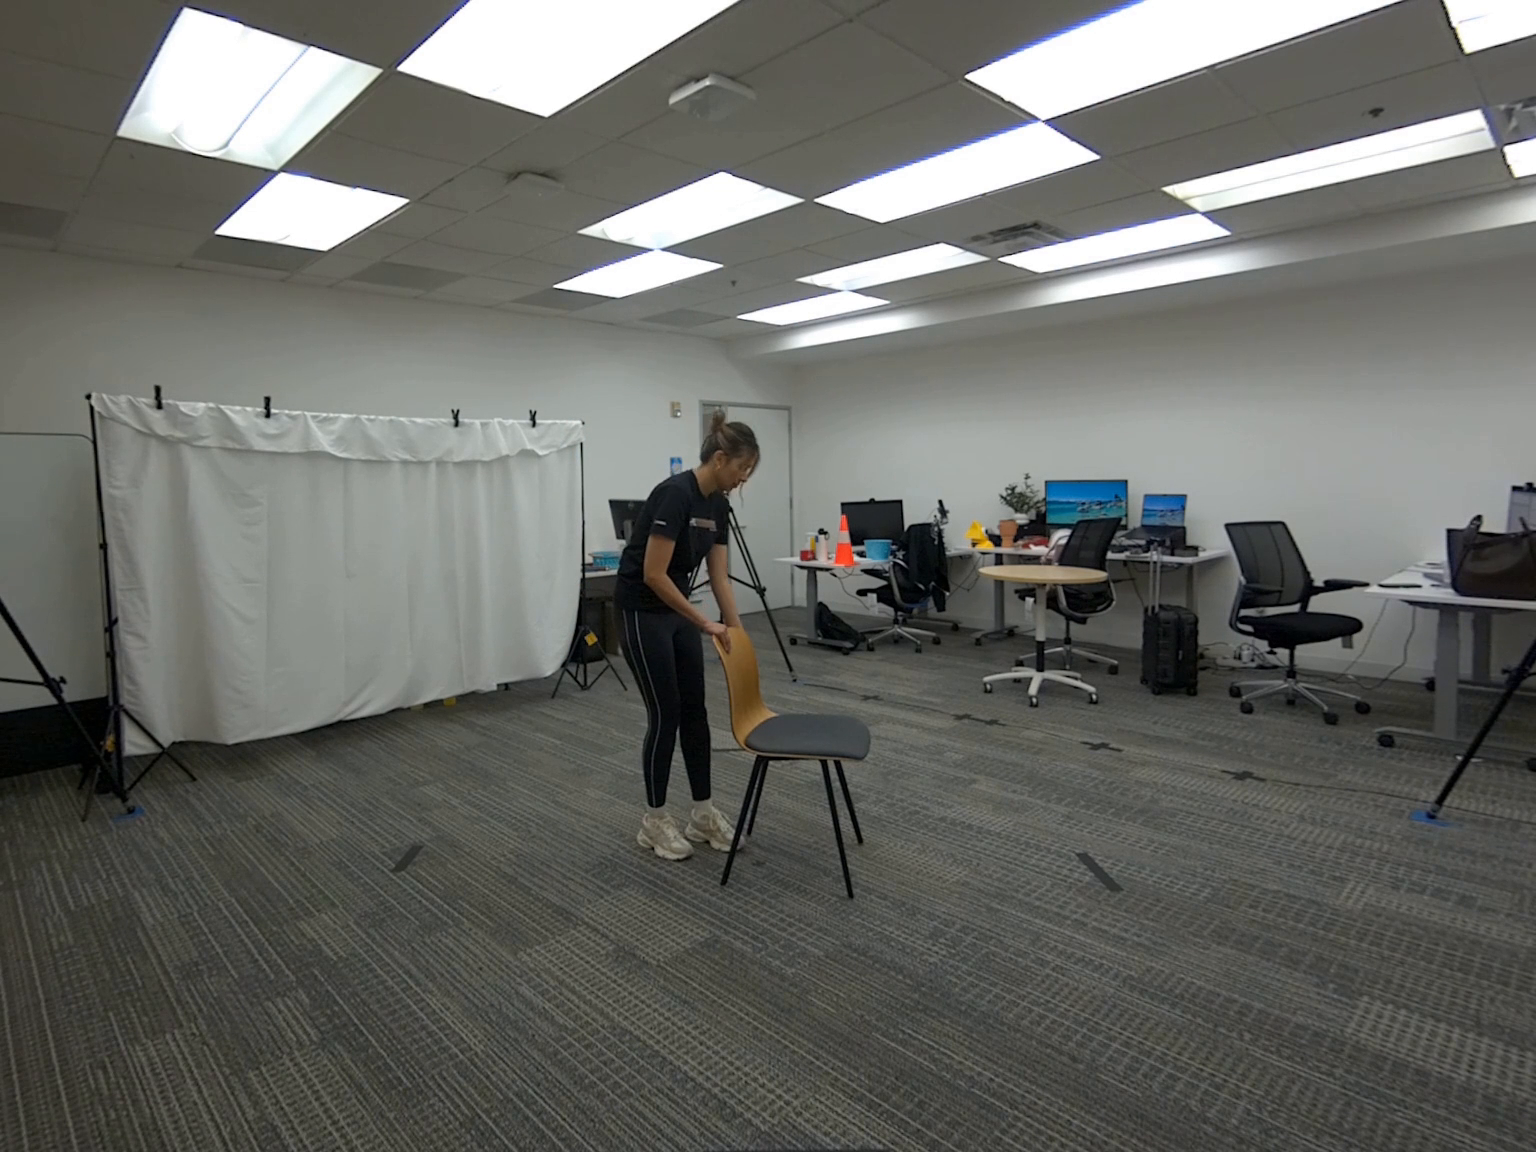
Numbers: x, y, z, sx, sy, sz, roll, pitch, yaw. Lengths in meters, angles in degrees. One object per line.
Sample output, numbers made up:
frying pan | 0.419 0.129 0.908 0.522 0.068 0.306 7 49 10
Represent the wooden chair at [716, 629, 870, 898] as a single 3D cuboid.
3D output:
wooden chair | 0.102 0.618 3.077 0.530 0.876 0.473 -4 2 13
